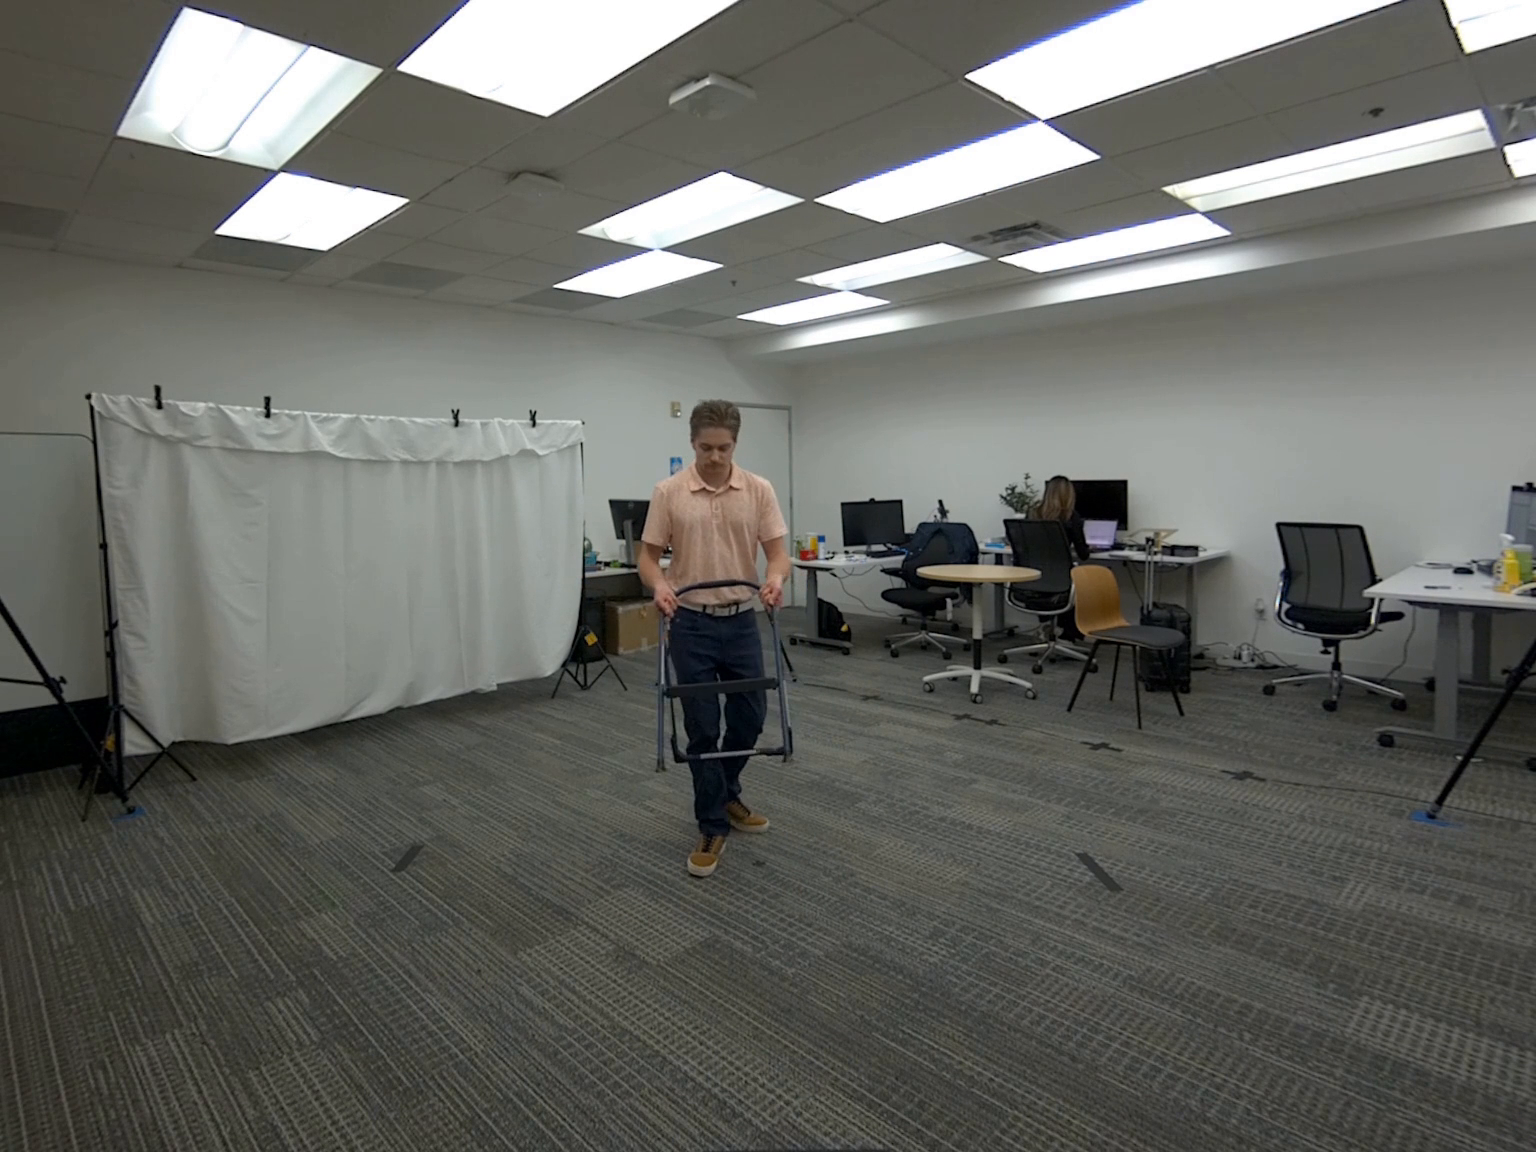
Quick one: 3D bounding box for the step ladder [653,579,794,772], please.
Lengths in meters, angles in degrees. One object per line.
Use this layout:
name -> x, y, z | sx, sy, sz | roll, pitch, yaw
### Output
step ladder -> -0.159, 0.319, 2.856 | 0.432, 0.613, 0.344 | -5, -10, 3
